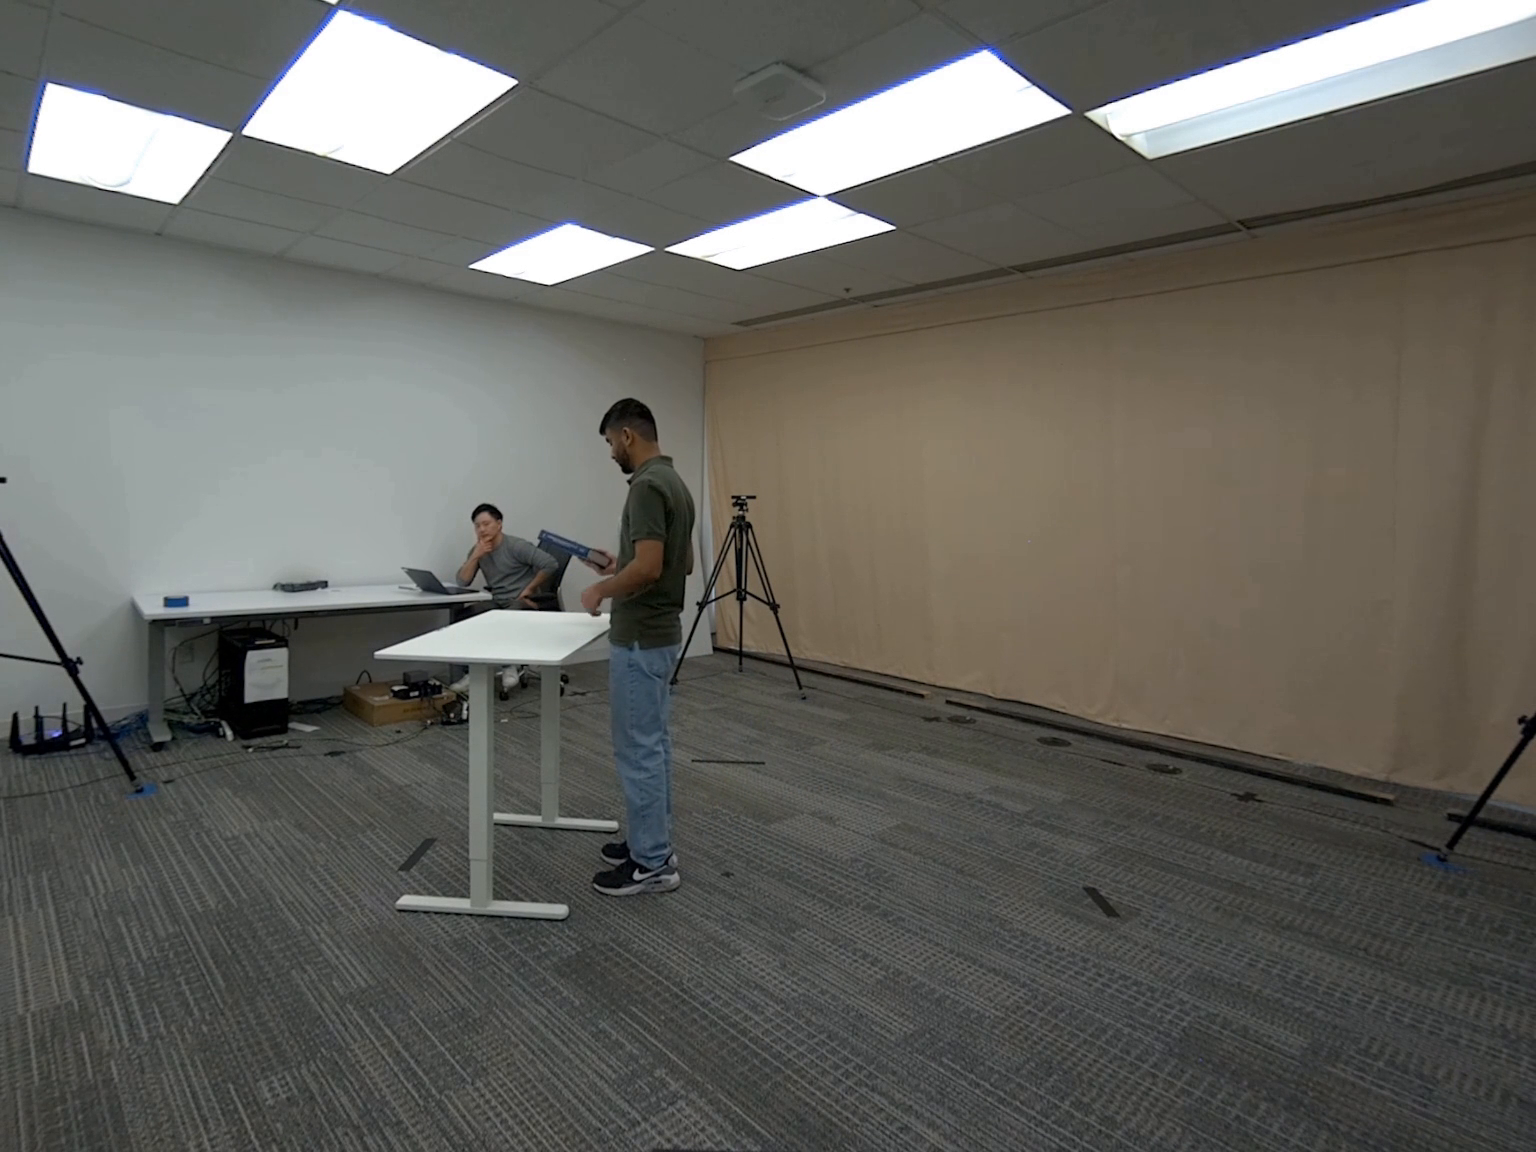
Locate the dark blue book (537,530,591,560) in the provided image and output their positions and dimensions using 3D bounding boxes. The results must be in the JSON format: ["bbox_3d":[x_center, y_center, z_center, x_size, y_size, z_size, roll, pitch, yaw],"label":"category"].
[{"bbox_3d":[-0.757,-0.102,3.259,0.250,0.045,0.159,19,-6,24],"label":"dark blue book"}]
